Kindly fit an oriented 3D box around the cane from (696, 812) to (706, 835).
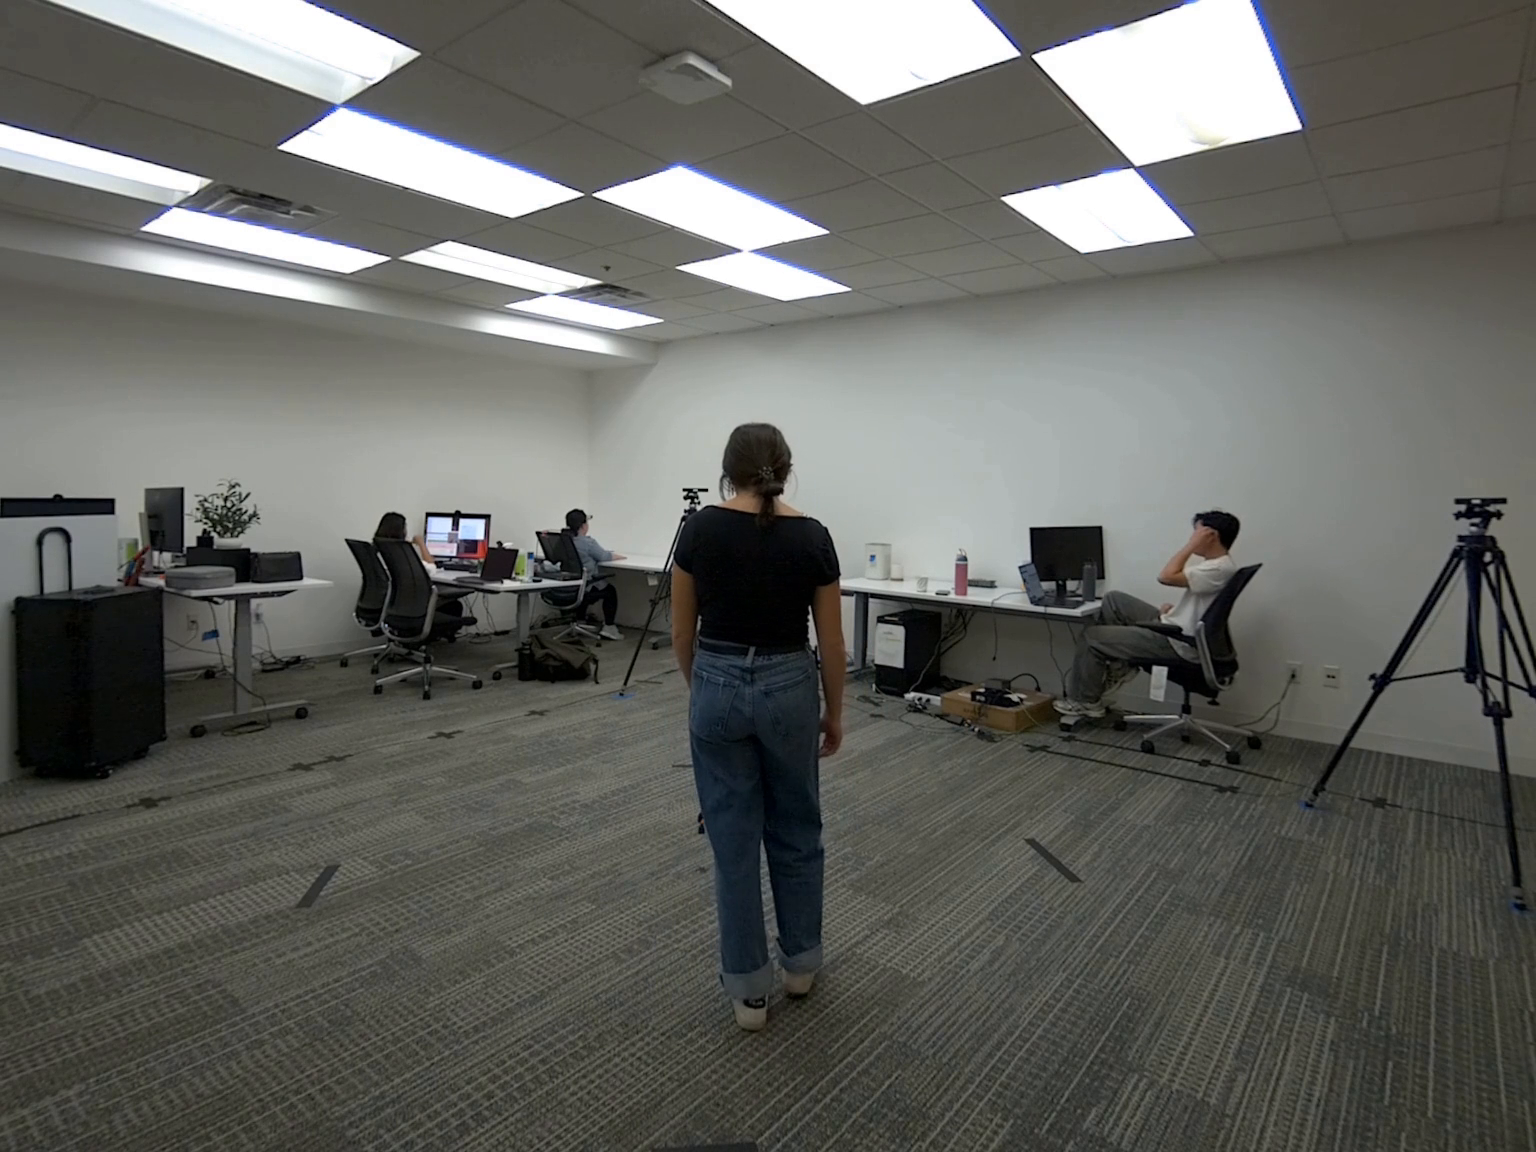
[{"bbox_3d":[-0.166,0.569,3.487,0.206,0.905,0.153,1,3,-4],"label":"cane"}]
